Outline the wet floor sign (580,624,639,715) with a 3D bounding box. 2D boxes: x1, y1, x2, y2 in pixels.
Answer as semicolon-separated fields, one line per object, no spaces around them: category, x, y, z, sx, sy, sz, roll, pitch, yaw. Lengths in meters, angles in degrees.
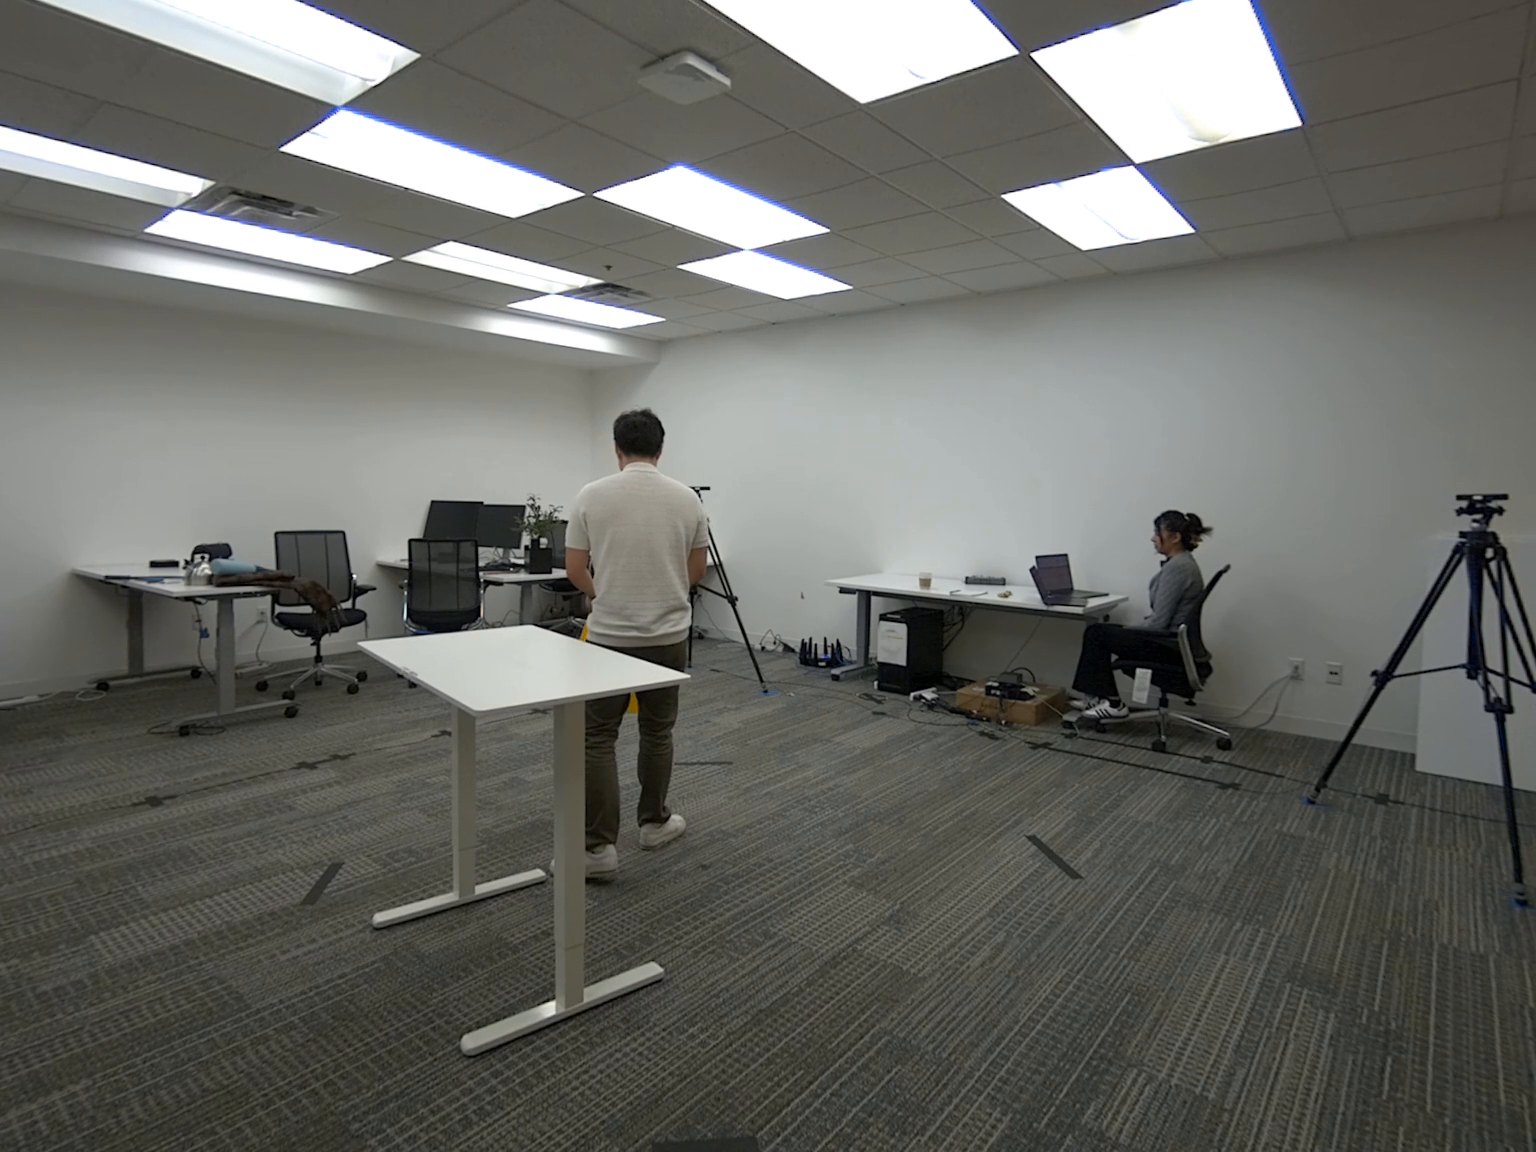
wet floor sign;-0.636;0.245;3.543;0.277;0.634;0.301;0;39;-20
